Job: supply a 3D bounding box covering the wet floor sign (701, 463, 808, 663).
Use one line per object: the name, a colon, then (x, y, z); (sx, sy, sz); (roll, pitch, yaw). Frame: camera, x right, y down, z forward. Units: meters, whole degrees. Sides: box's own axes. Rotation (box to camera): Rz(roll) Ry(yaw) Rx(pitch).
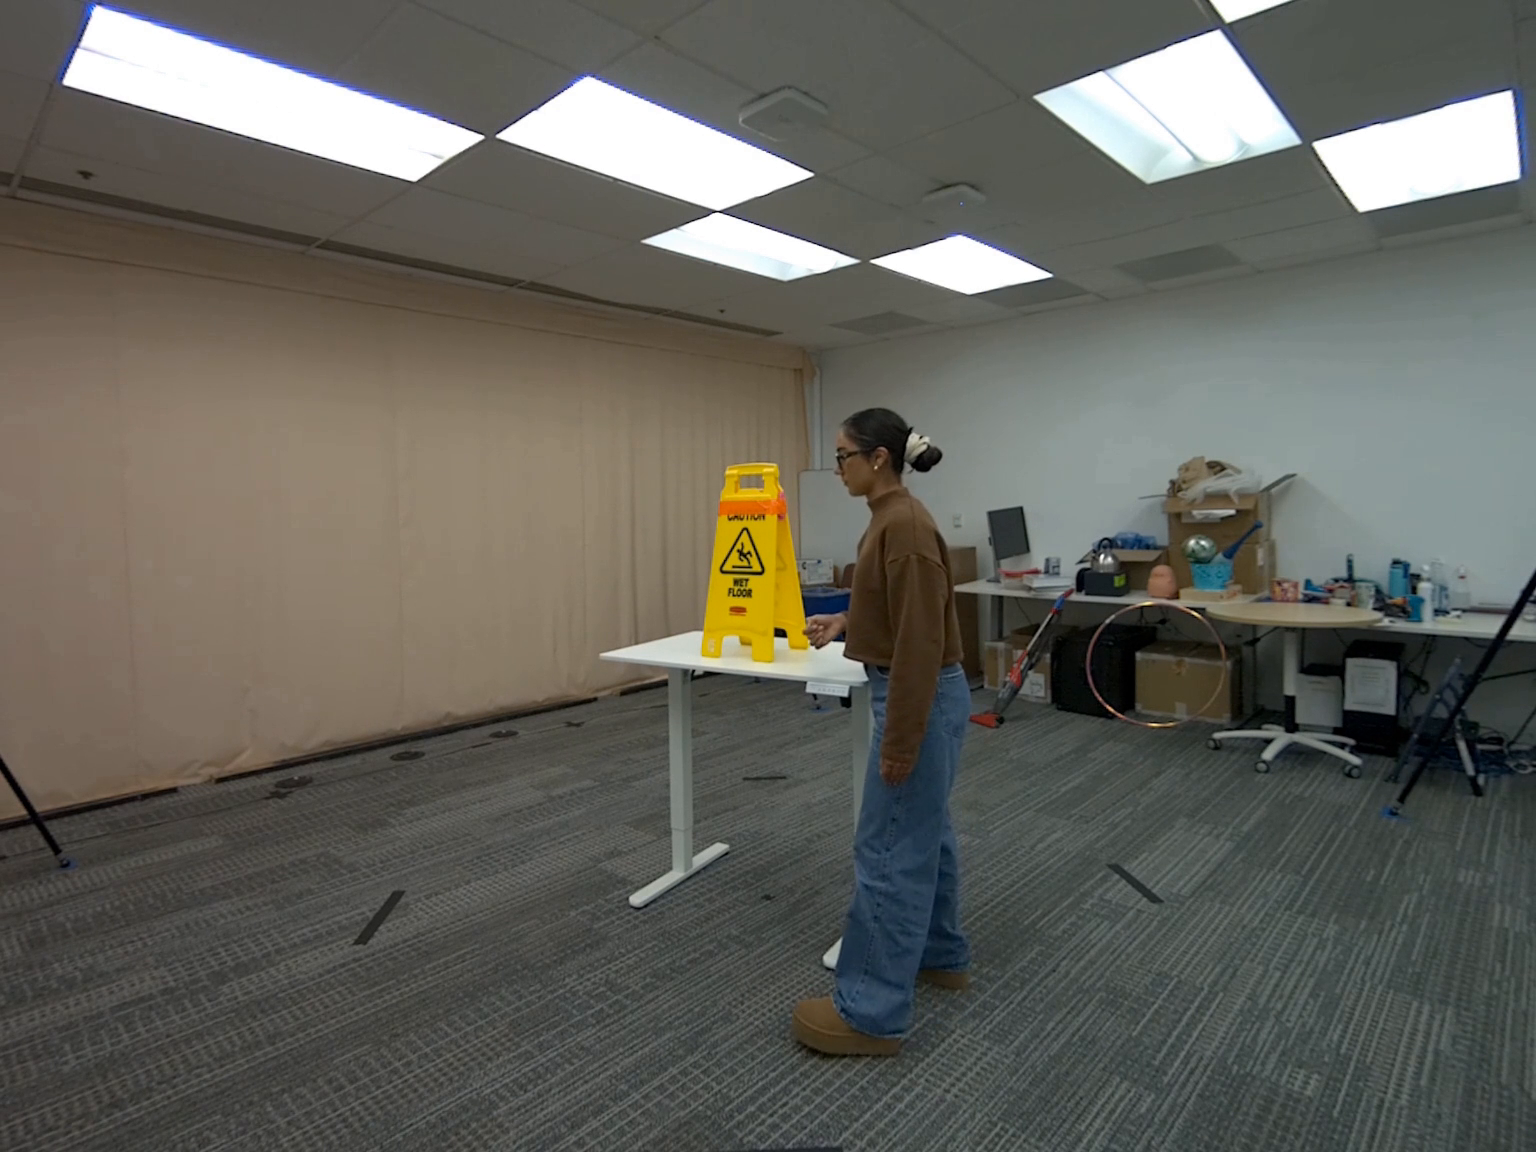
wet floor sign: (-0.042, -0.056, 2.890); (0.290, 0.645, 0.282); (1, 3, 31)
